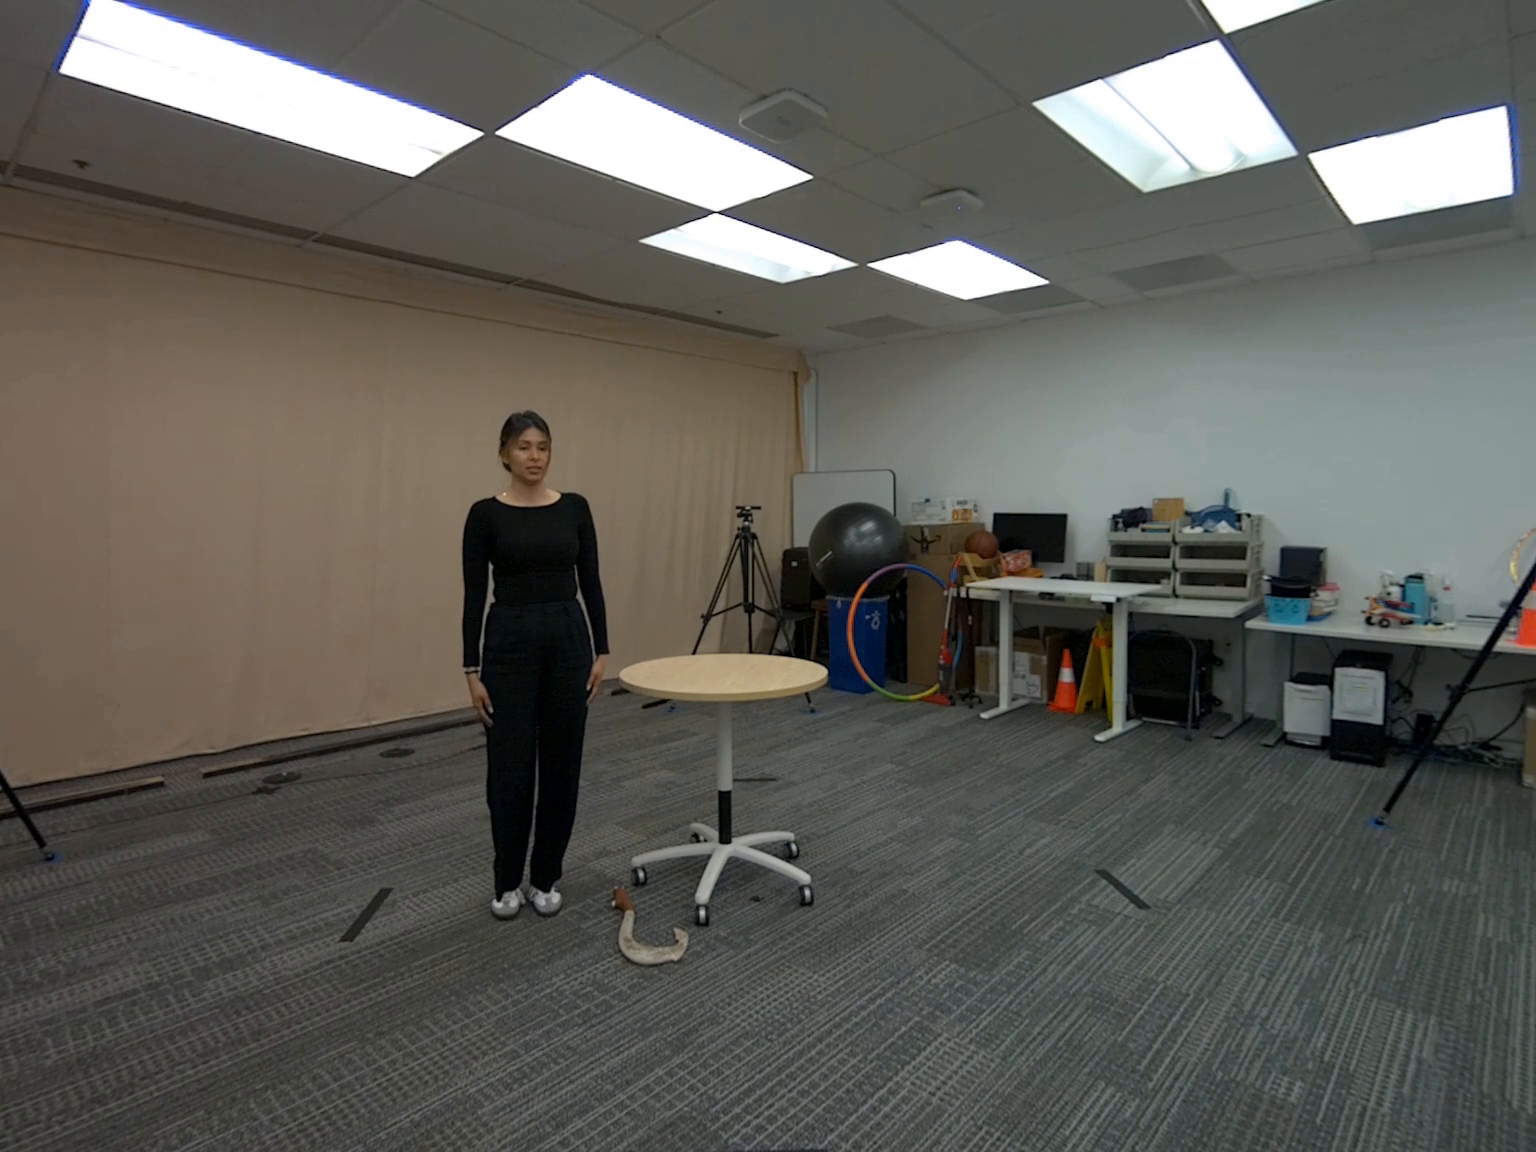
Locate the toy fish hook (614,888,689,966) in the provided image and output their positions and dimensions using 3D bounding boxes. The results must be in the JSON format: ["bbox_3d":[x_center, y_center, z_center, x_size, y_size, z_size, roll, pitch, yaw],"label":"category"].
[{"bbox_3d":[-0.403,1.146,2.787,0.220,0.048,0.517,7,3,-19],"label":"toy fish hook"}]
